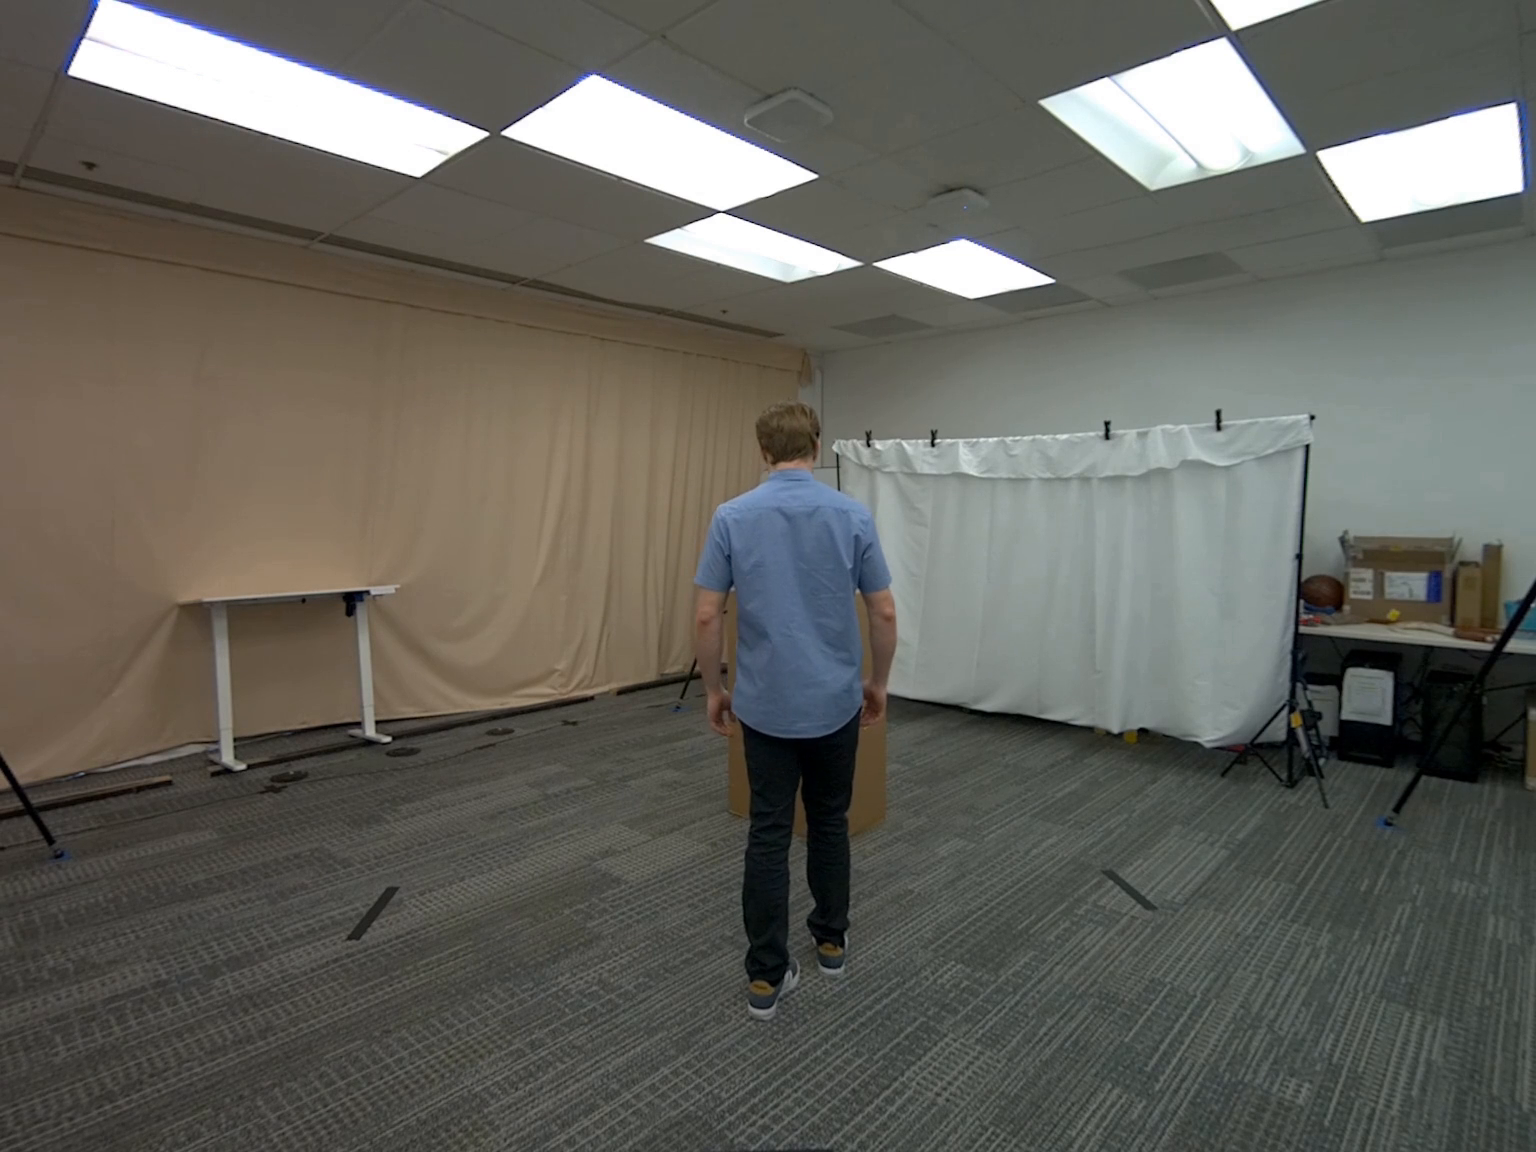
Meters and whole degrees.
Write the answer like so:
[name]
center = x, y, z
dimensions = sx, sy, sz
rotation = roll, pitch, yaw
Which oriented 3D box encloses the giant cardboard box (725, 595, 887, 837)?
[giant cardboard box]
center = 0.170, 0.569, 3.770
dimensions = 0.596, 1.024, 0.413
rotation = 2, 3, 43
